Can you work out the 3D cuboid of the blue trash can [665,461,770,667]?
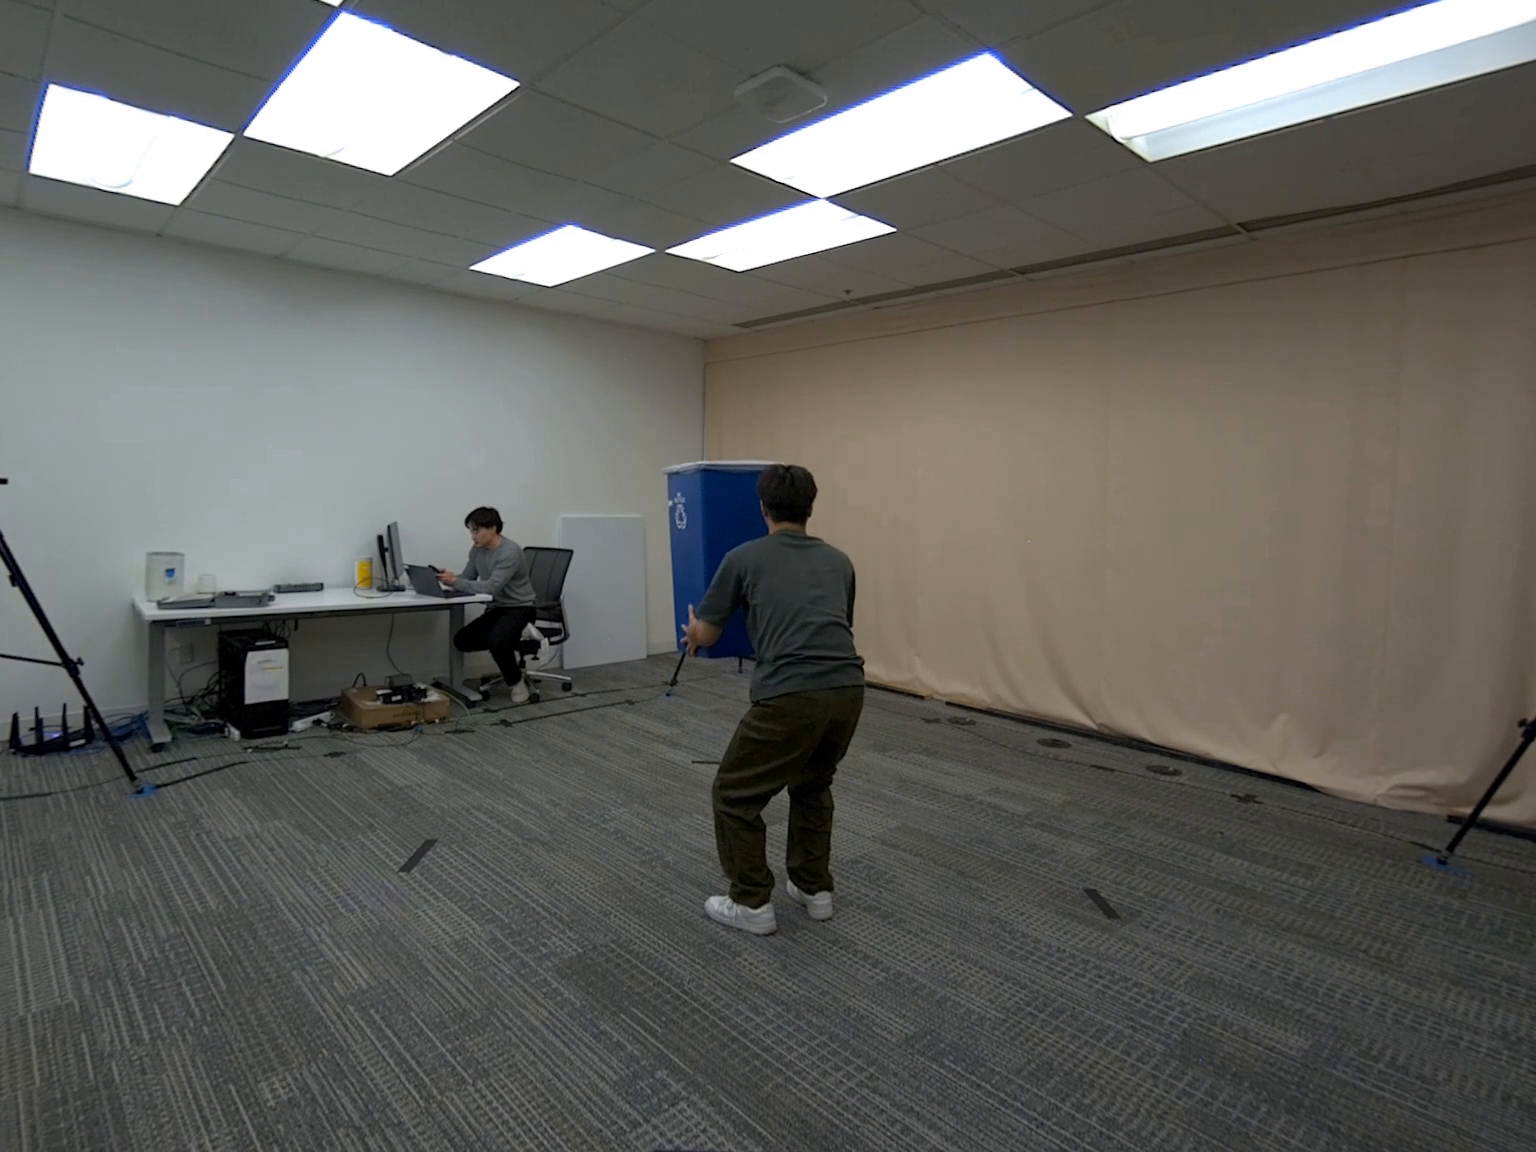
[{"bbox_3d":[-0.175,-0.068,3.229,0.367,0.713,0.385,-2,1,-28],"label":"blue trash can"}]
